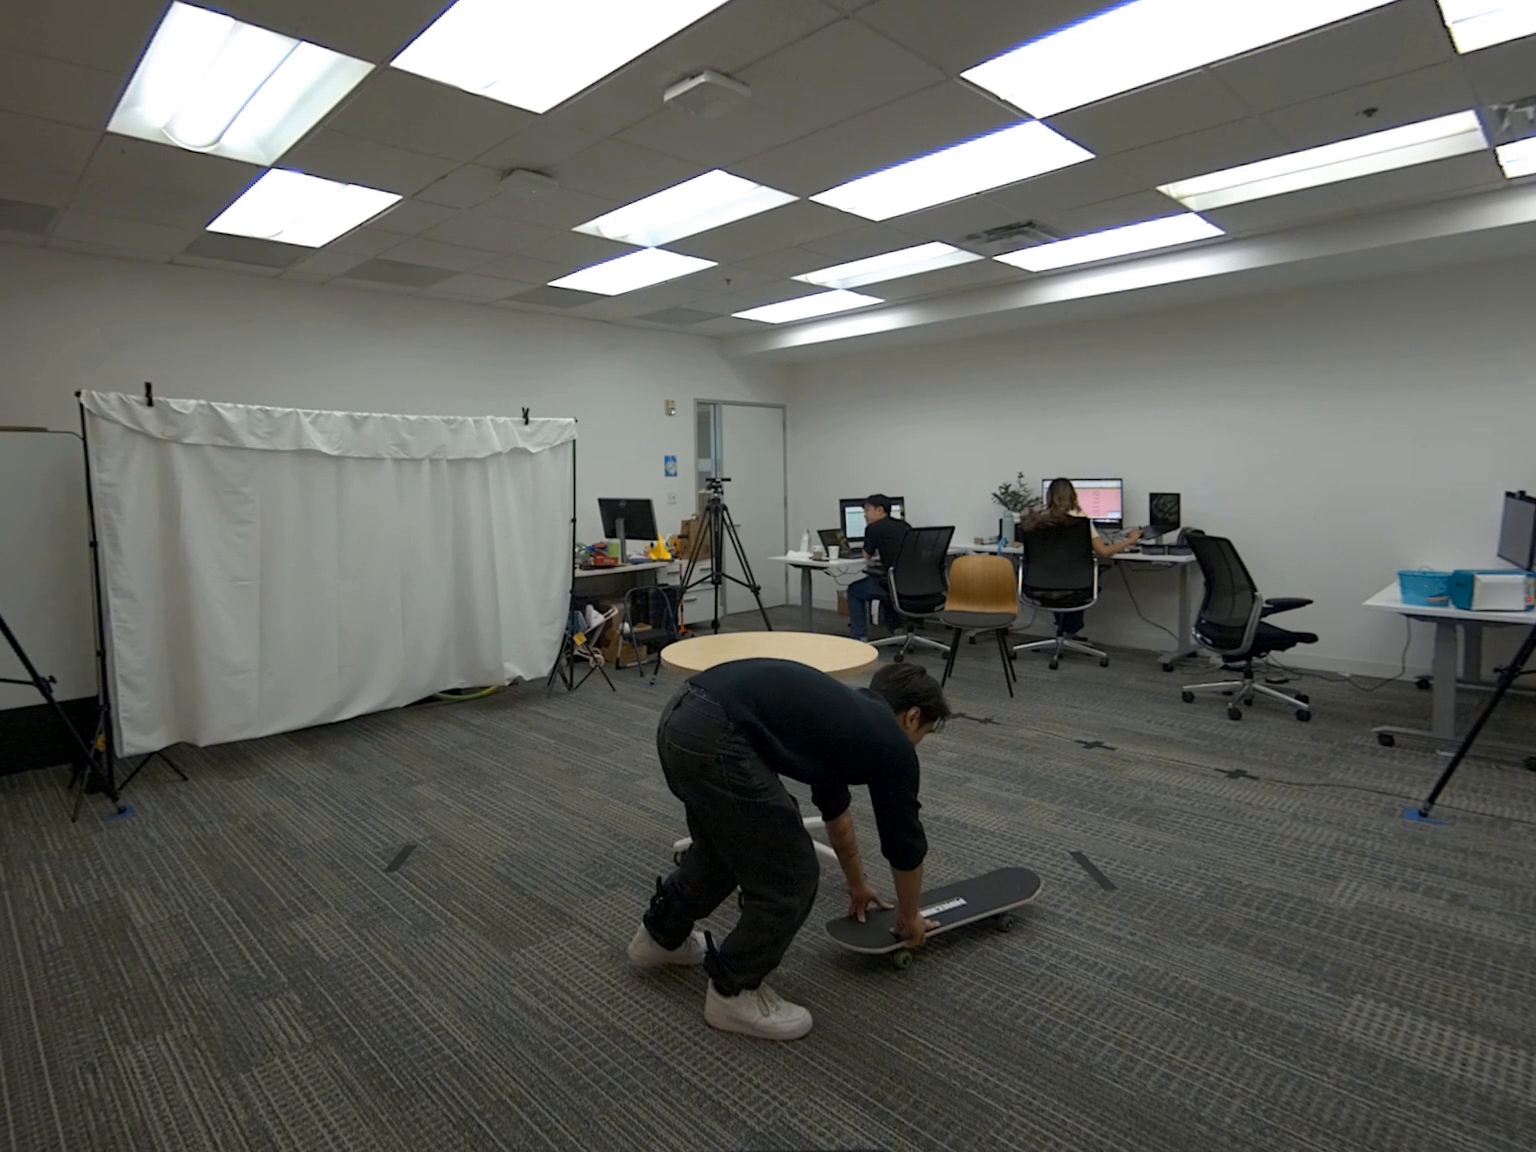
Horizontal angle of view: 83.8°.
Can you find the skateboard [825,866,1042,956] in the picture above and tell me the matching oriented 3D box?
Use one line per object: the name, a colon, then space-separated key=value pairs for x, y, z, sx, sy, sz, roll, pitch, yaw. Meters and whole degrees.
skateboard: x=0.520 y=1.035 z=2.590 sx=0.768 sy=0.110 sz=0.199 roll=-5 pitch=7 yaw=-28
